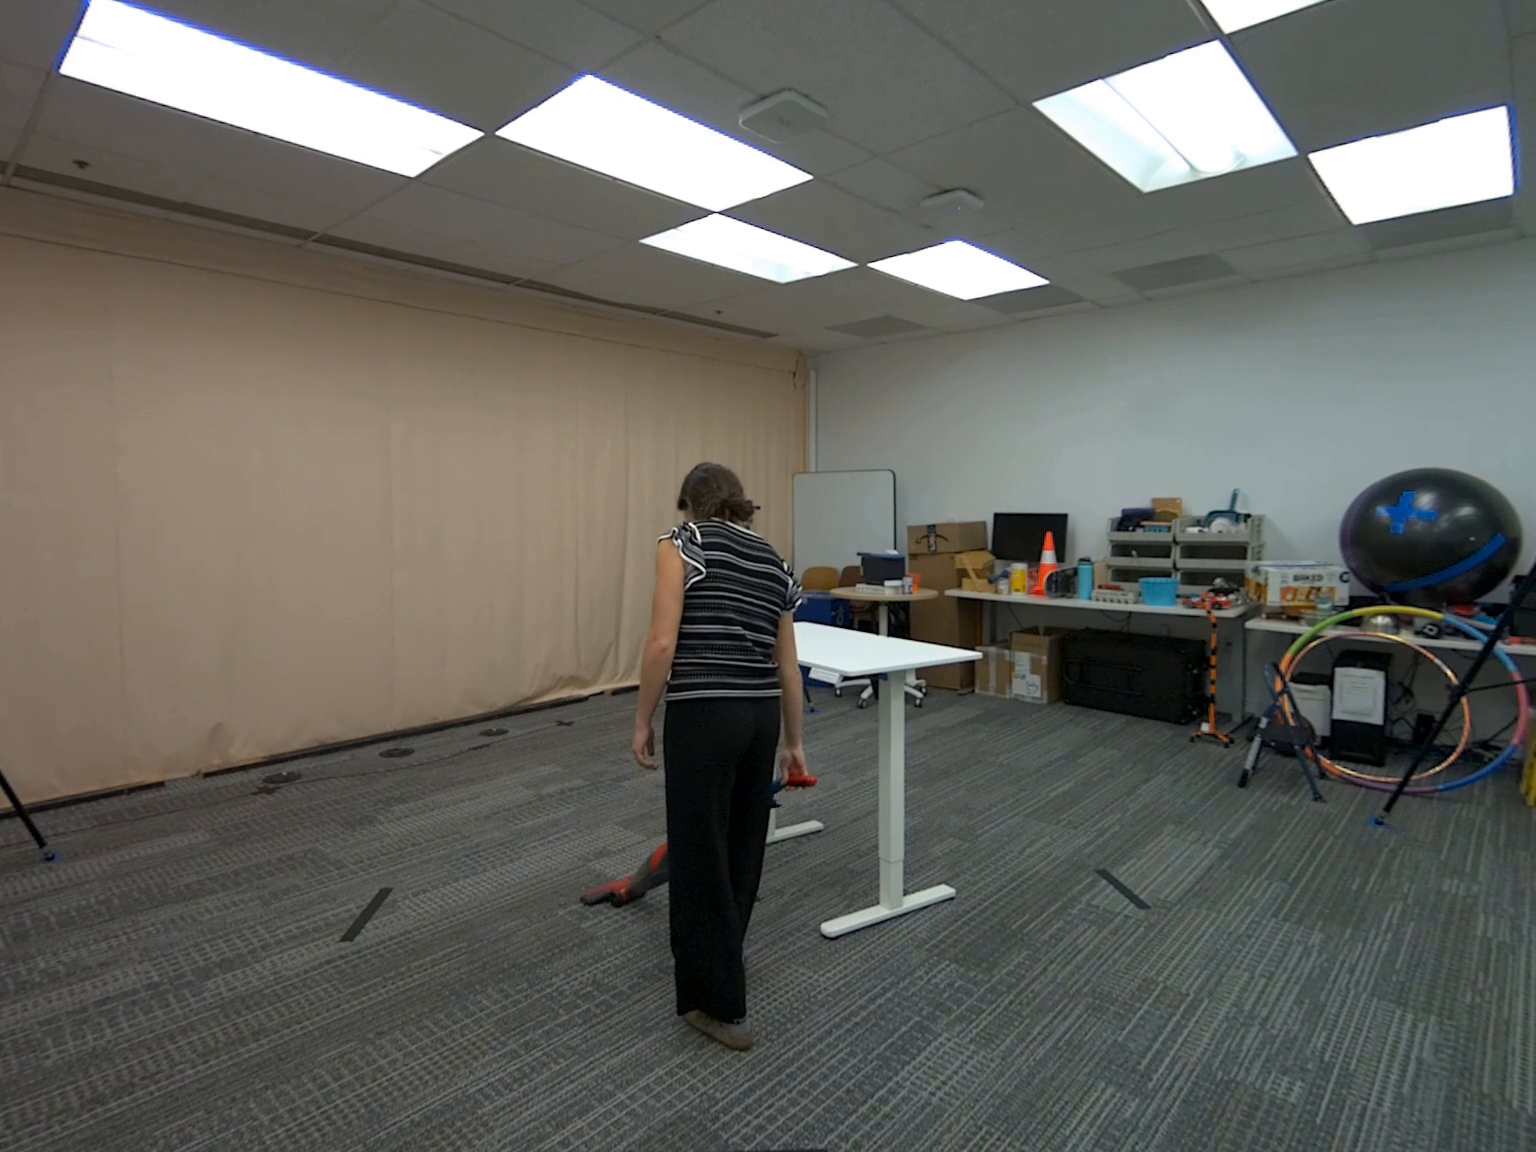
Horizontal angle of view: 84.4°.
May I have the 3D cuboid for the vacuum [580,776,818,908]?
[{"bbox_3d":[-0.236,0.873,2.709,0.245,0.146,1.063,-10,-21,-47],"label":"vacuum"}]
